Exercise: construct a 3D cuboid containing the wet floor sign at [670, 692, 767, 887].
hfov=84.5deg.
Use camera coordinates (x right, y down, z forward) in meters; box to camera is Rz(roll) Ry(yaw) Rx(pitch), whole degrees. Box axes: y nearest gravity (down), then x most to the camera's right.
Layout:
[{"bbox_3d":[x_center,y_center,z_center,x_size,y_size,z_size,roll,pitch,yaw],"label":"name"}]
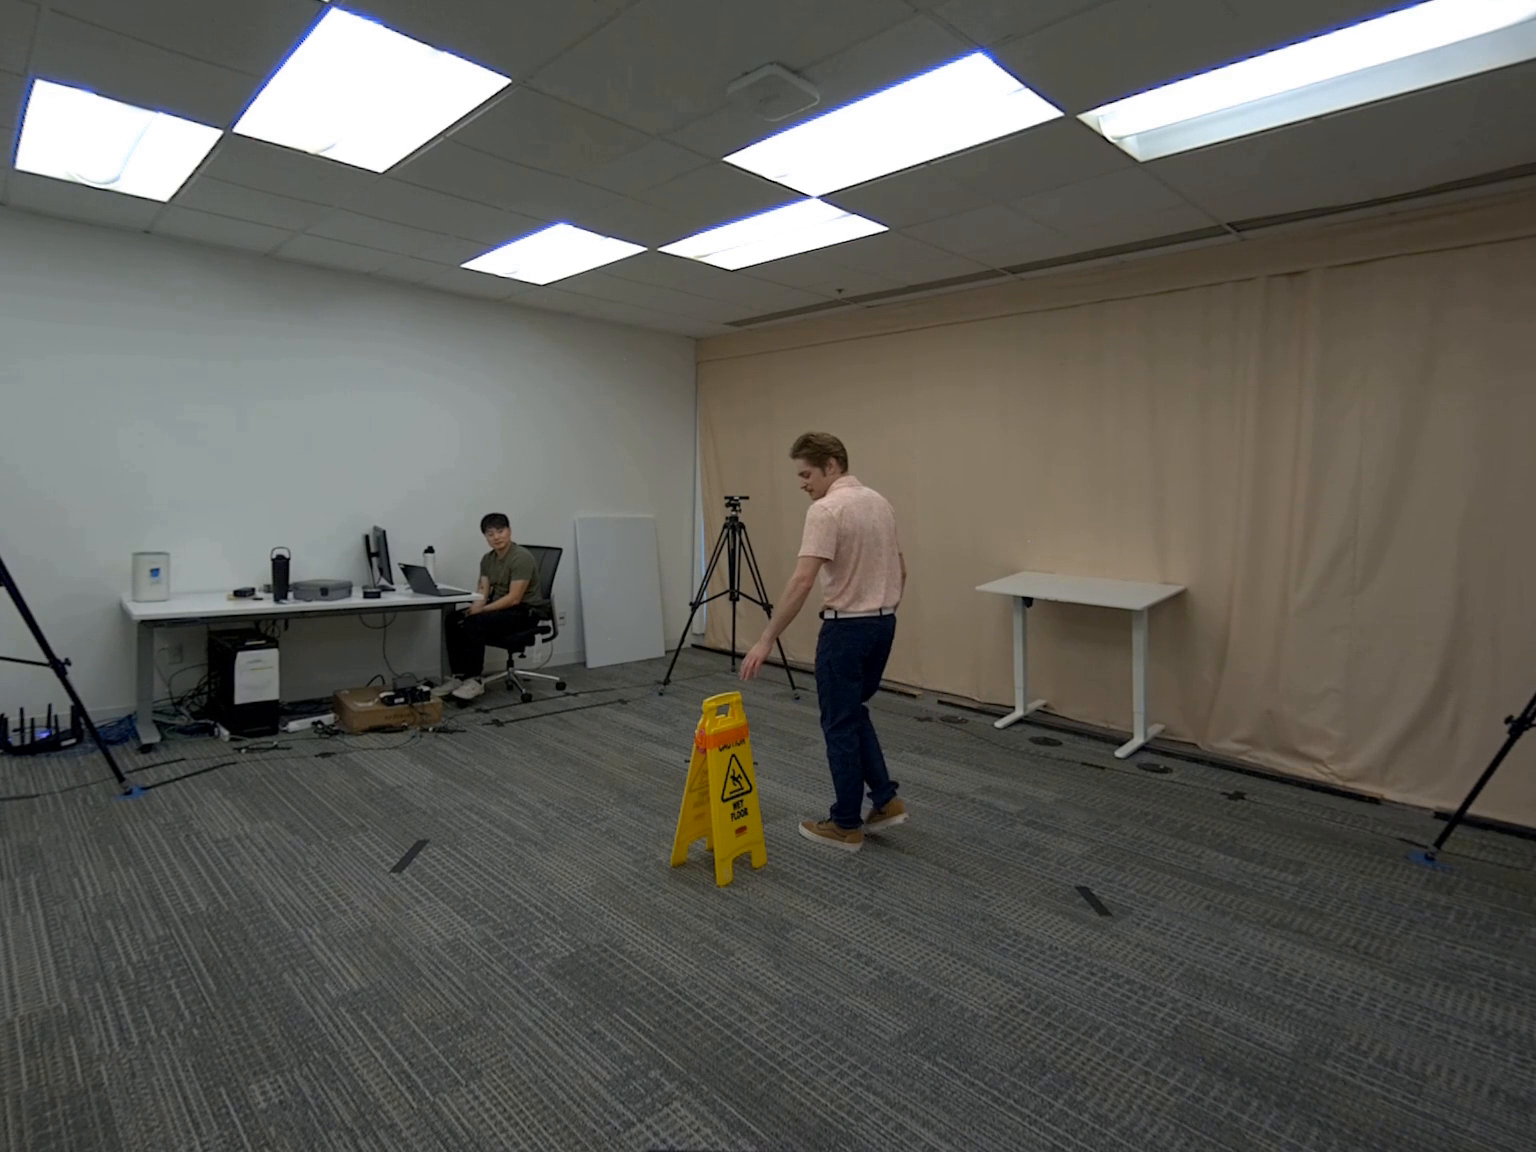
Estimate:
[{"bbox_3d":[-0.183,0.772,3.165,0.297,0.644,0.276,5,5,38],"label":"wet floor sign"}]
